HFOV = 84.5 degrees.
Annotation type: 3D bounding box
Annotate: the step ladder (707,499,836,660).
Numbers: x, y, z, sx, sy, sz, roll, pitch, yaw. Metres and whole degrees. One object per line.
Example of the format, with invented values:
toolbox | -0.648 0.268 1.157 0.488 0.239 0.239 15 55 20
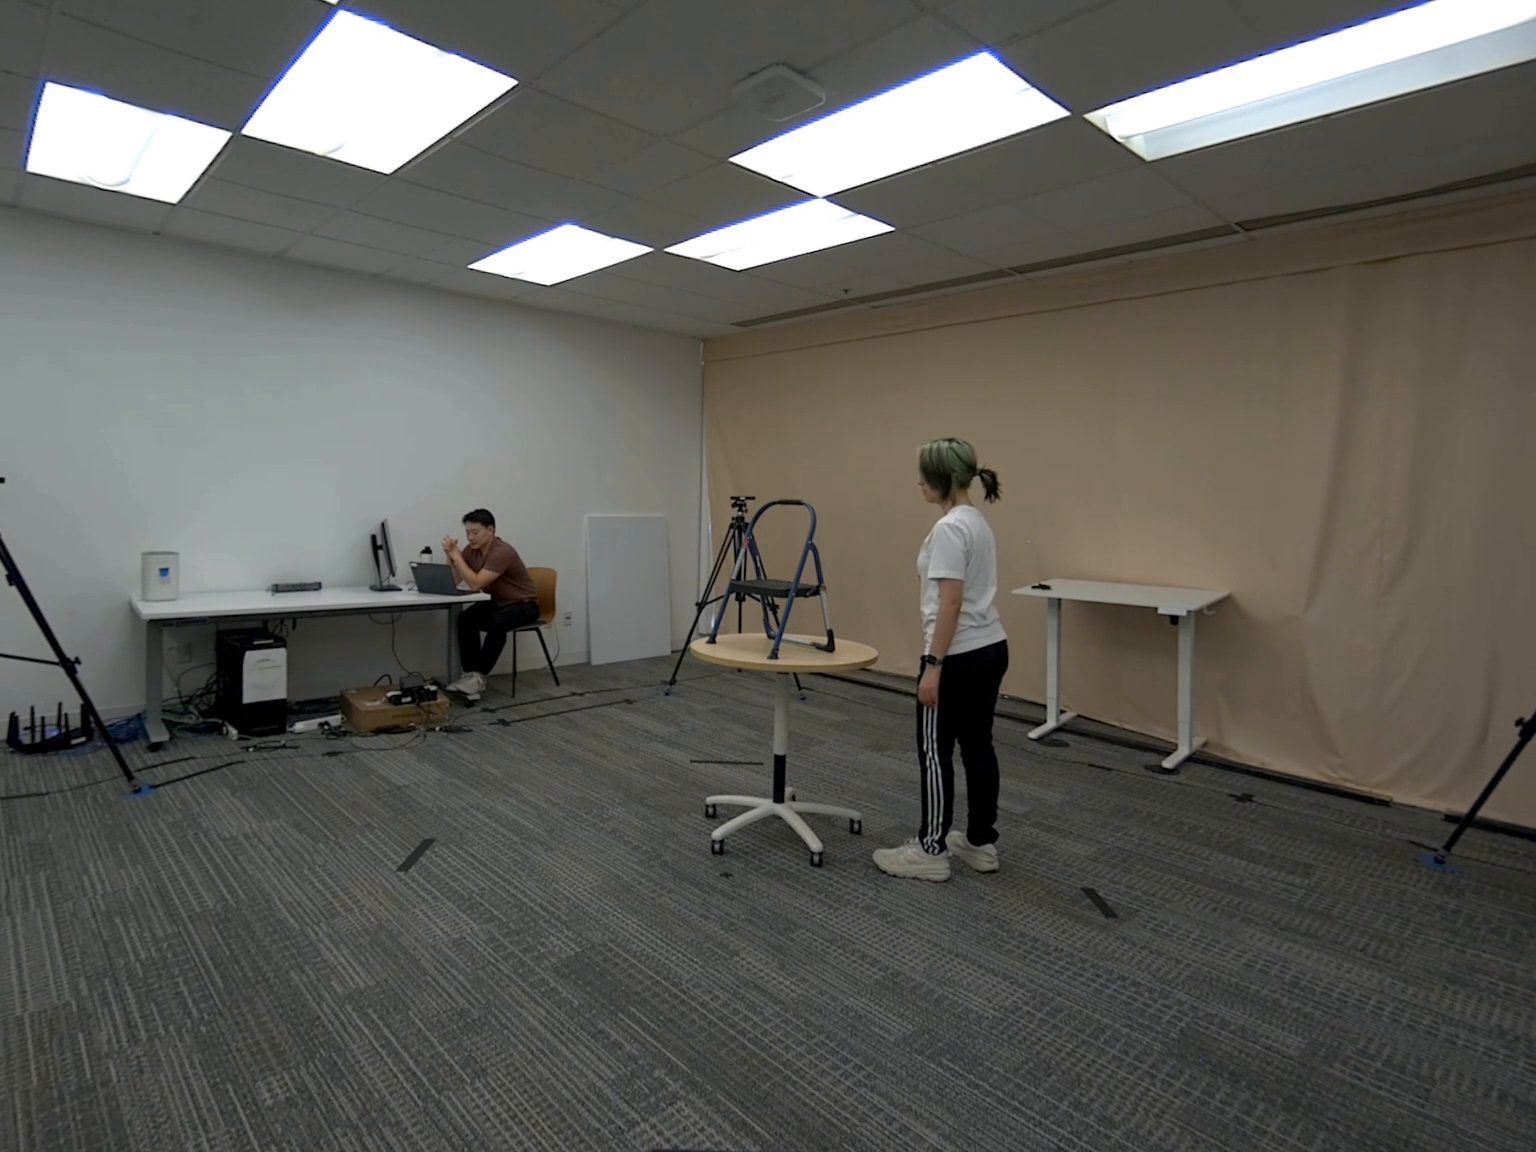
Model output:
step ladder | 0.017 -0.006 3.427 0.341 0.605 0.441 0 4 -39
